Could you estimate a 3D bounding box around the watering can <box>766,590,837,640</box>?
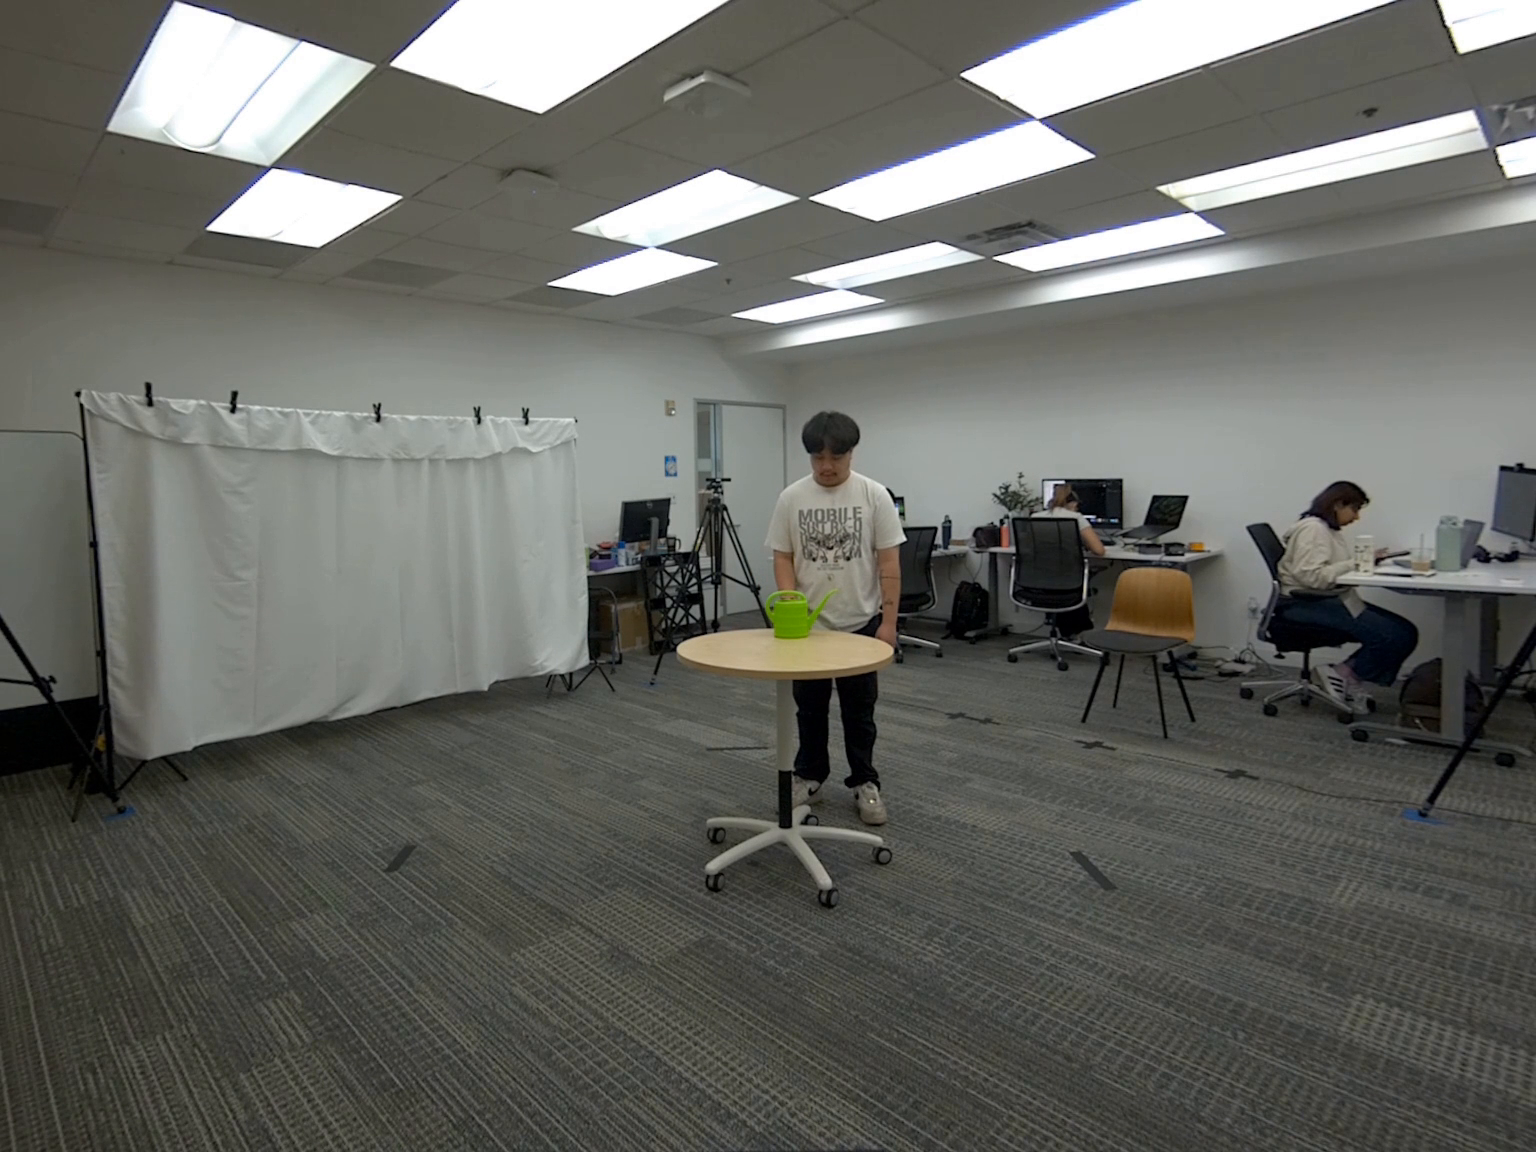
[{"bbox_3d":[0.137,0.148,3.245,0.280,0.176,0.098,-1,6,7],"label":"watering can"}]
